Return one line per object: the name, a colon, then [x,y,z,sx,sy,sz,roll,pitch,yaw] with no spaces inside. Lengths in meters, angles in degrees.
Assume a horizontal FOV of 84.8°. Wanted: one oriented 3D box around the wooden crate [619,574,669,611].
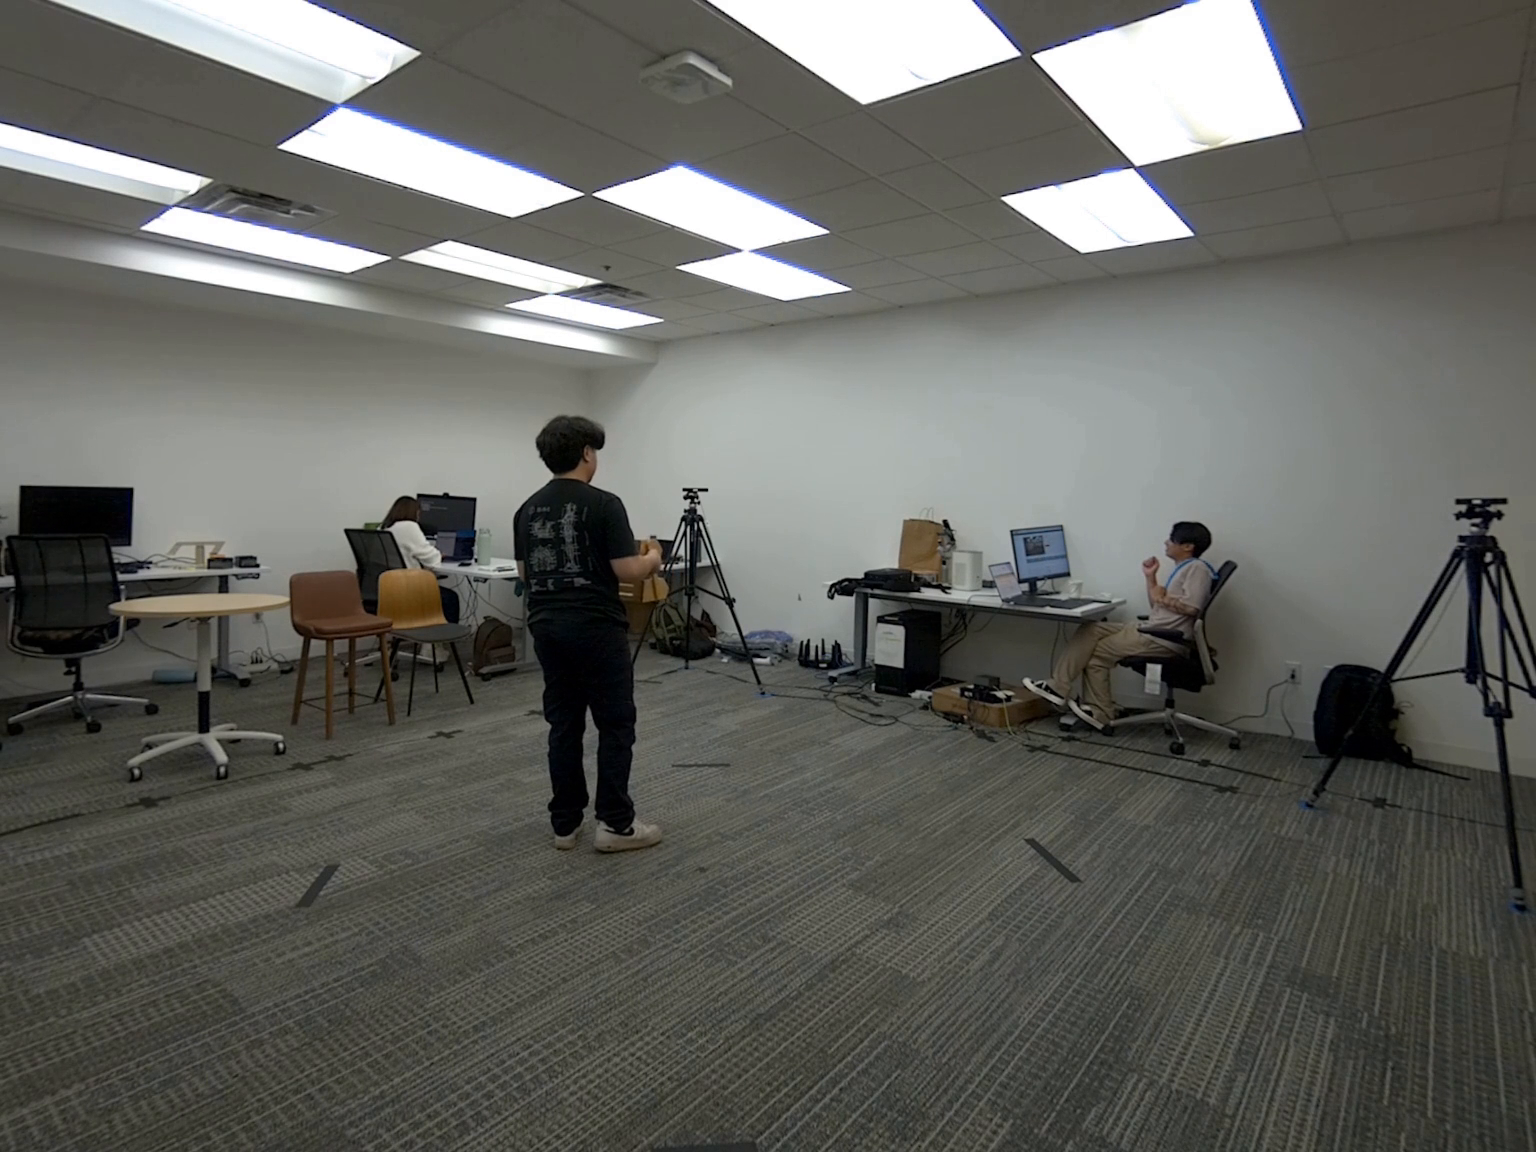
wooden crate: [-0.629,-0.048,3.643,0.331,0.273,0.297,4,3,18]
